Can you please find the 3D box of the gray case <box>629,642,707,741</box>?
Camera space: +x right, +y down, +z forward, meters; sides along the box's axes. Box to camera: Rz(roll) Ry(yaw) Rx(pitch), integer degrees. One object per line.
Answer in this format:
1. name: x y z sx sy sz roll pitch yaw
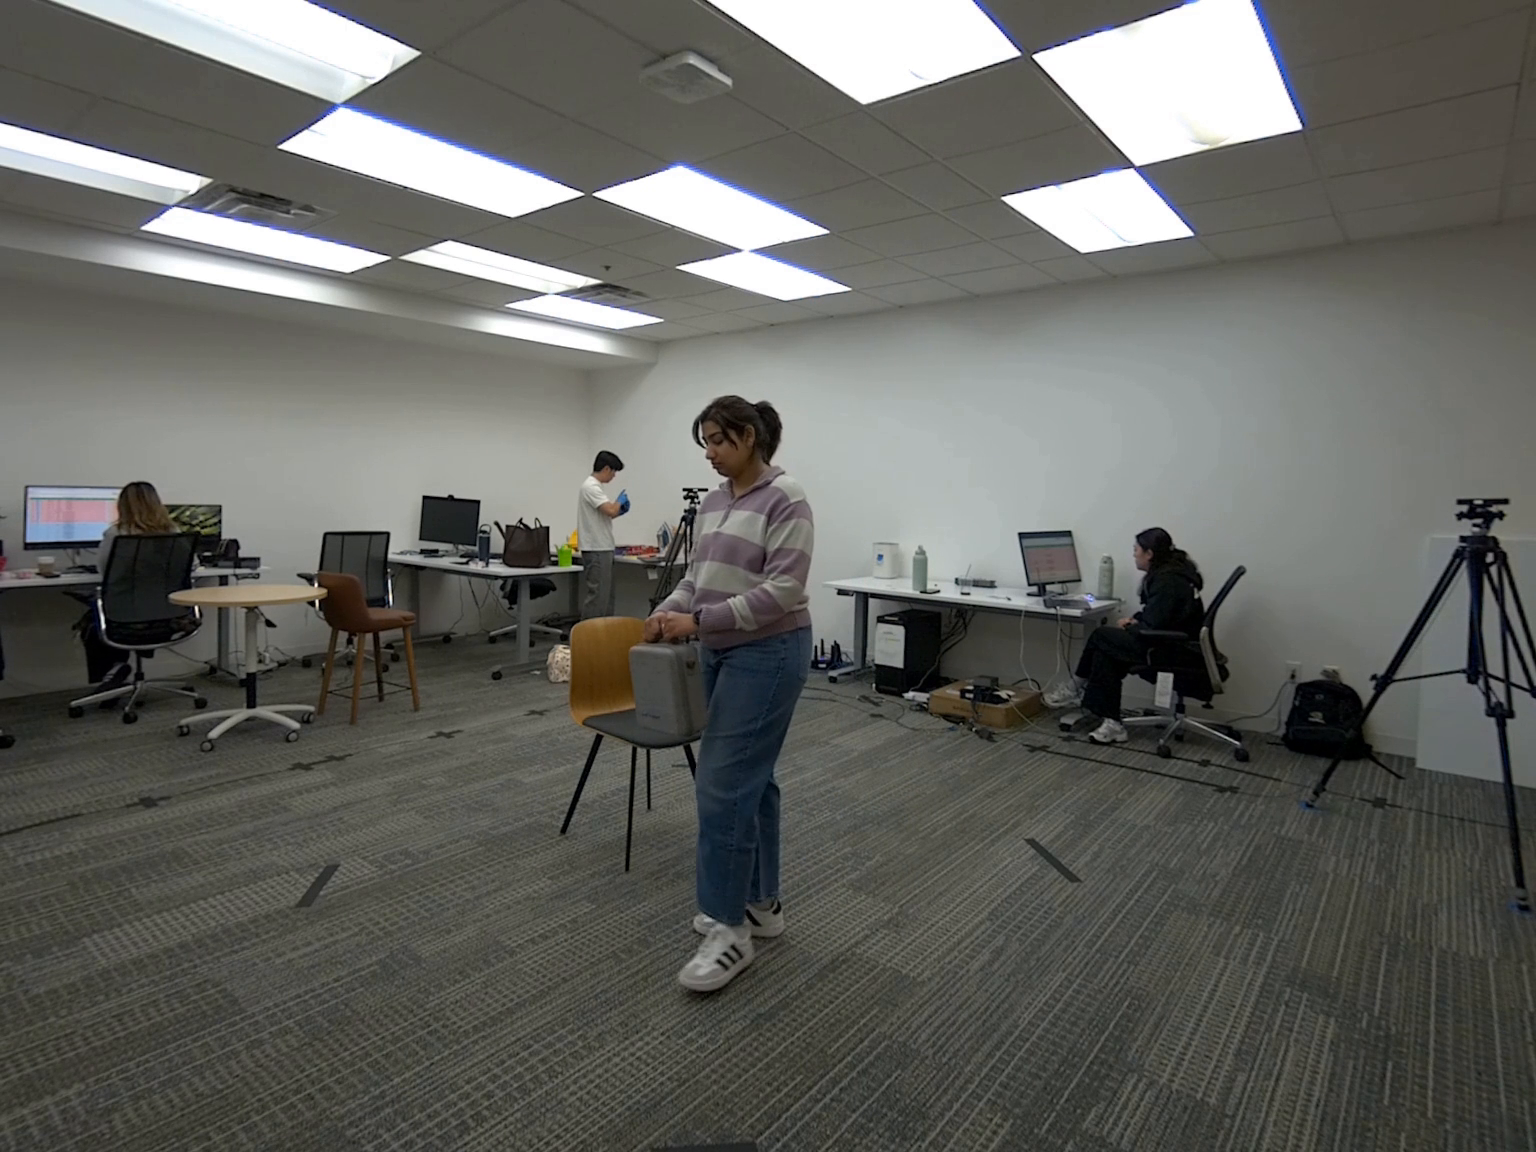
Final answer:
1. gray case: -0.304 0.315 2.453 0.101 0.260 0.264 -8 4 -36
